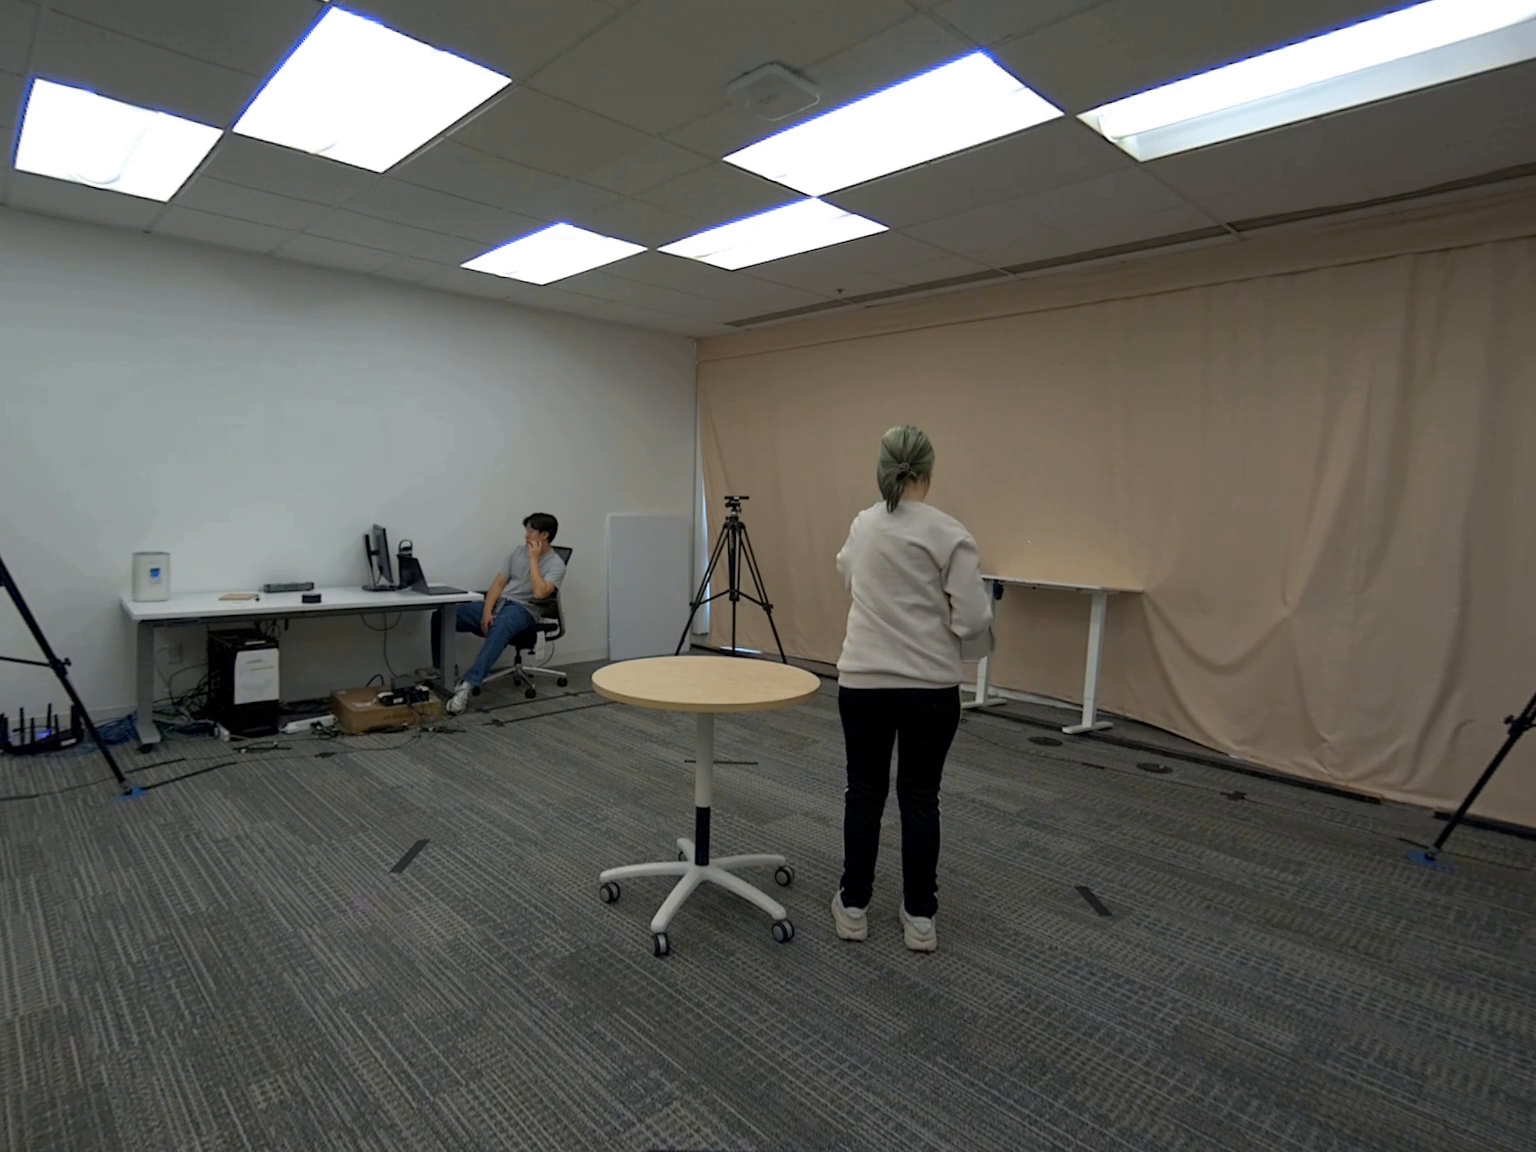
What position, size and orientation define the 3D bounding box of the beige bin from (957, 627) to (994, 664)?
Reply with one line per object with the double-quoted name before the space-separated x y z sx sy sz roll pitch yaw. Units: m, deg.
"beige bin" 0.546 0.182 3.013 0.374 0.188 0.429 -1 10 -11
